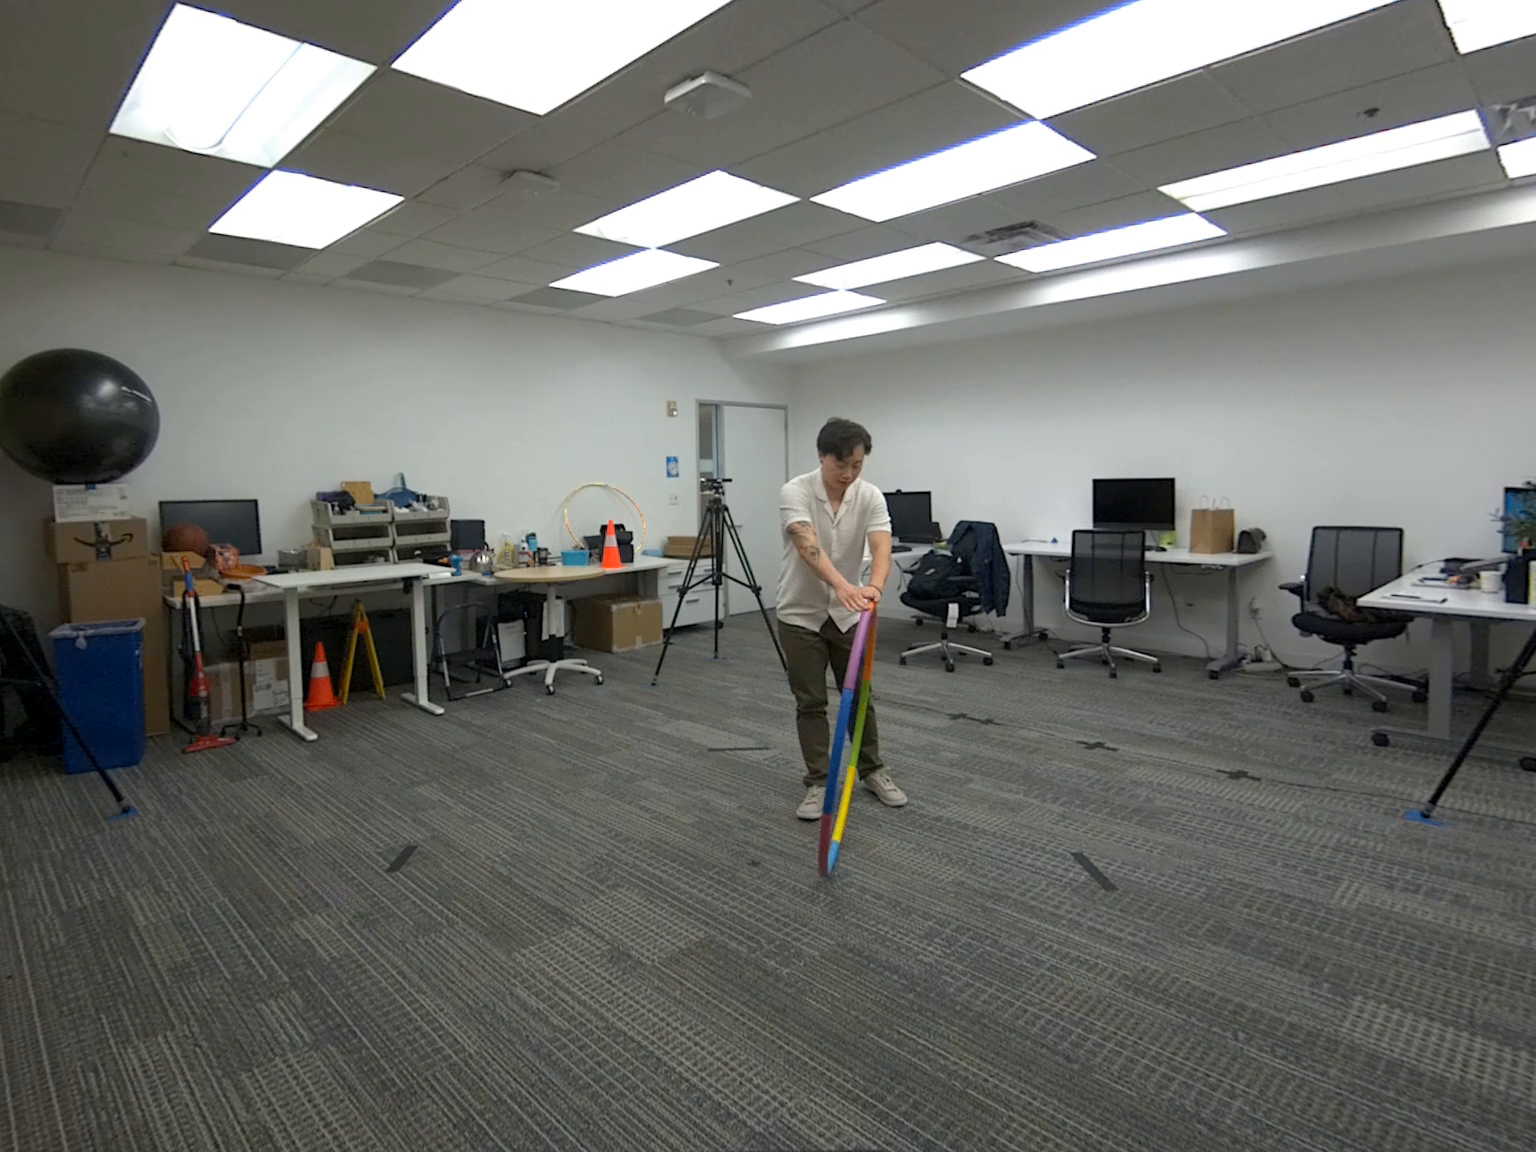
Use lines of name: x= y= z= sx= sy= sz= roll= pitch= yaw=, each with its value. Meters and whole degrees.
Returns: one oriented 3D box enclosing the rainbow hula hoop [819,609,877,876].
rainbow hula hoop: x=0.286 y=0.576 z=3.067 sx=0.036 sy=0.974 sz=0.971 roll=9 pitch=7 yaw=10
